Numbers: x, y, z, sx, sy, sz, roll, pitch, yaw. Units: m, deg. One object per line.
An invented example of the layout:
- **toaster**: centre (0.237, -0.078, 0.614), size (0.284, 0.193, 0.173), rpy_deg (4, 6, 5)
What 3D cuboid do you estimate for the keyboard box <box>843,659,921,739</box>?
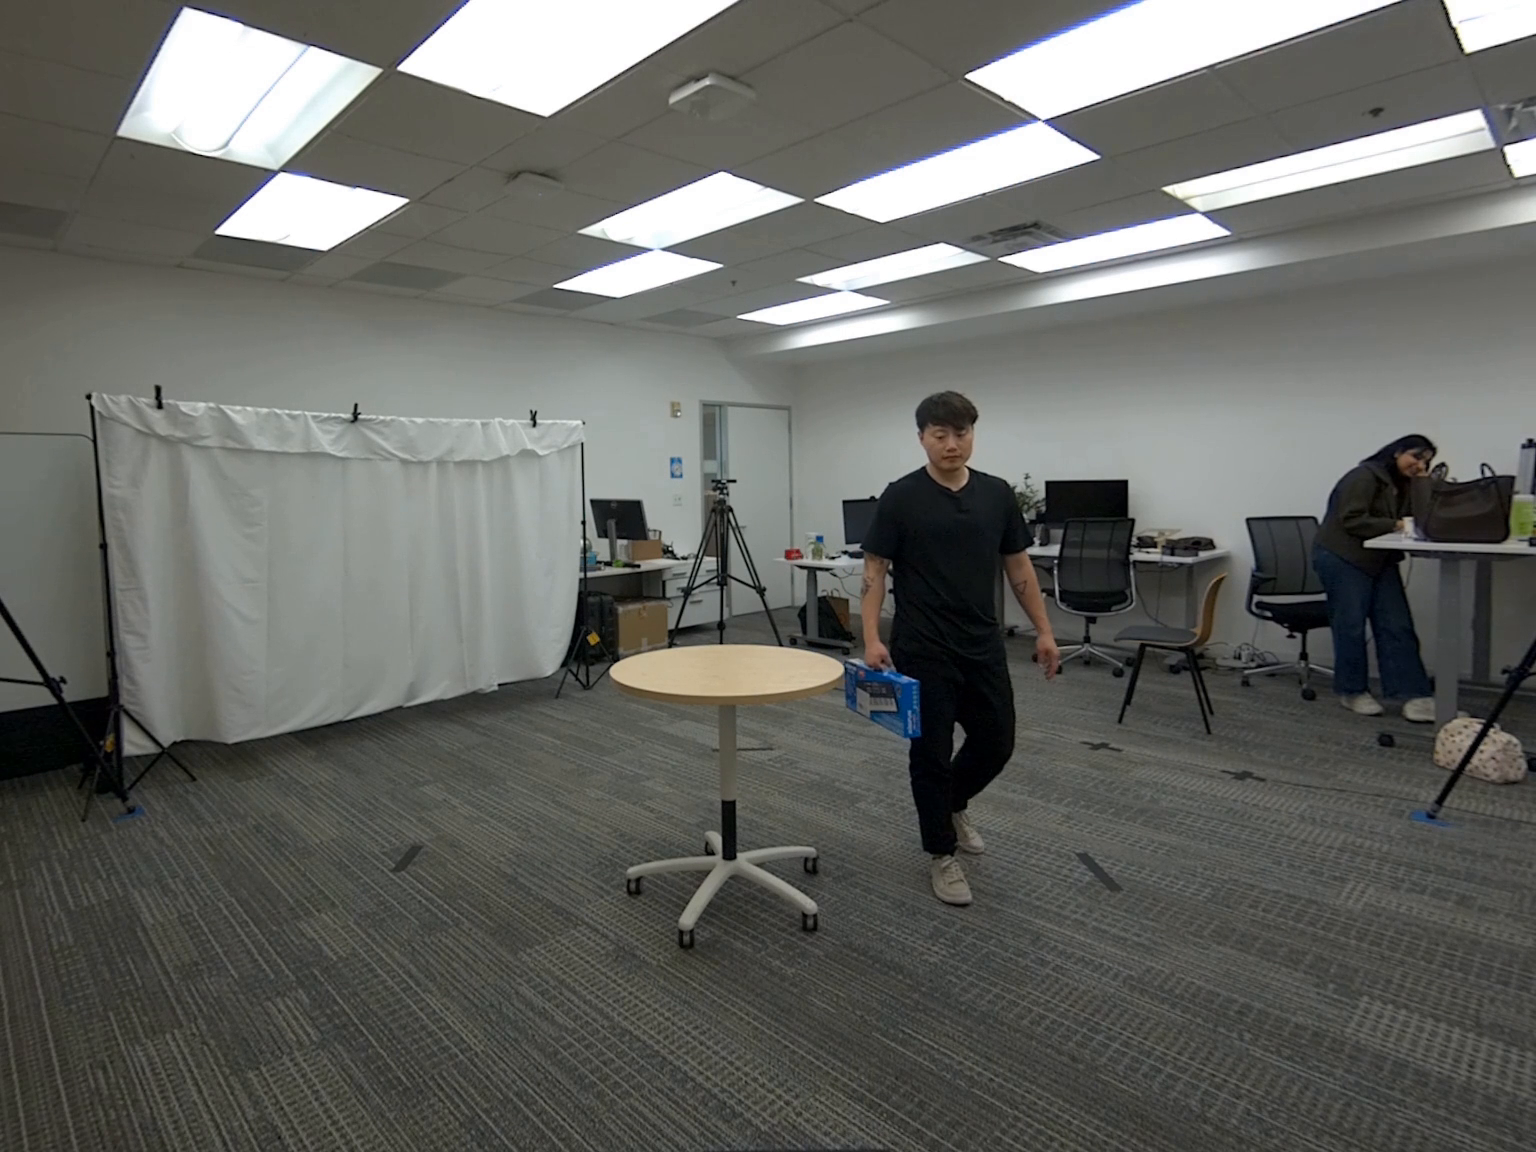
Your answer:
- **keyboard box**: centre (0.367, 0.392, 2.816), size (0.058, 0.175, 0.445), rpy_deg (-3, 5, -19)
